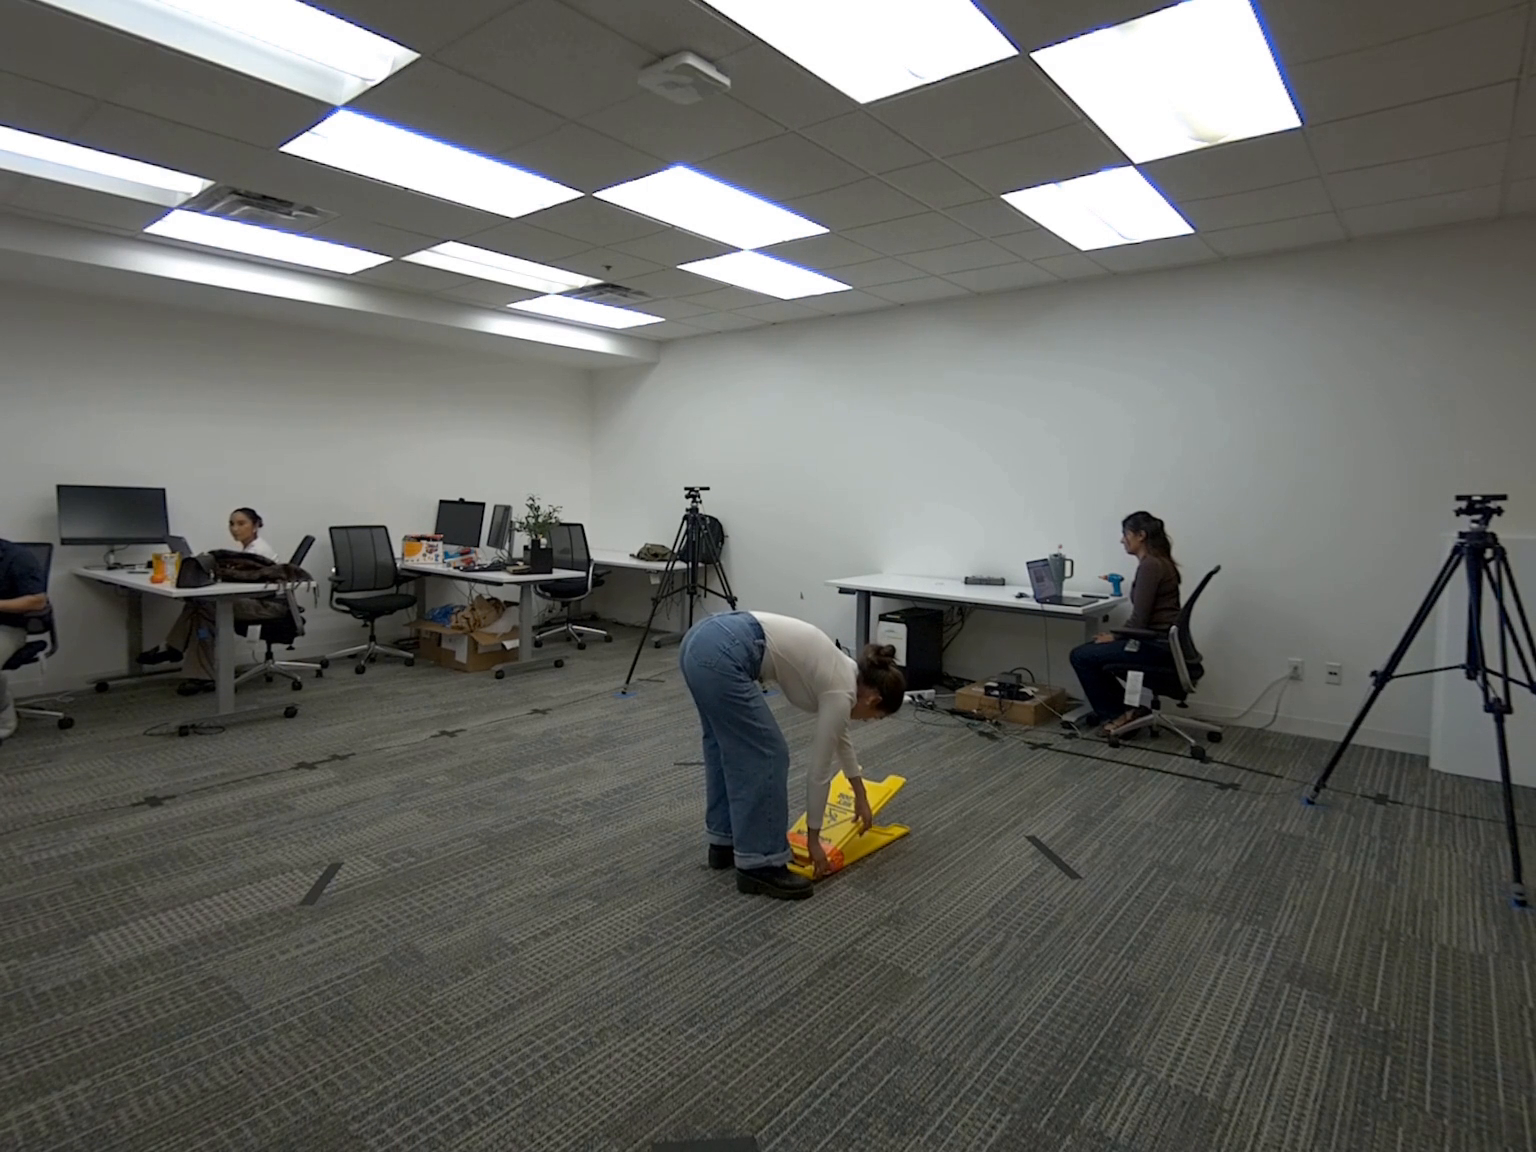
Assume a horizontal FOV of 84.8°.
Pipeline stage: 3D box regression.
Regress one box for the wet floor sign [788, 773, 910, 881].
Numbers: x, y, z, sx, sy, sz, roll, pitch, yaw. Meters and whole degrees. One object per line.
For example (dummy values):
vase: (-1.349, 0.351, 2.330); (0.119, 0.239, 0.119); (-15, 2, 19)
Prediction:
wet floor sign: (0.265, 0.990, 3.303); (0.292, 0.286, 0.633); (4, 16, 39)
